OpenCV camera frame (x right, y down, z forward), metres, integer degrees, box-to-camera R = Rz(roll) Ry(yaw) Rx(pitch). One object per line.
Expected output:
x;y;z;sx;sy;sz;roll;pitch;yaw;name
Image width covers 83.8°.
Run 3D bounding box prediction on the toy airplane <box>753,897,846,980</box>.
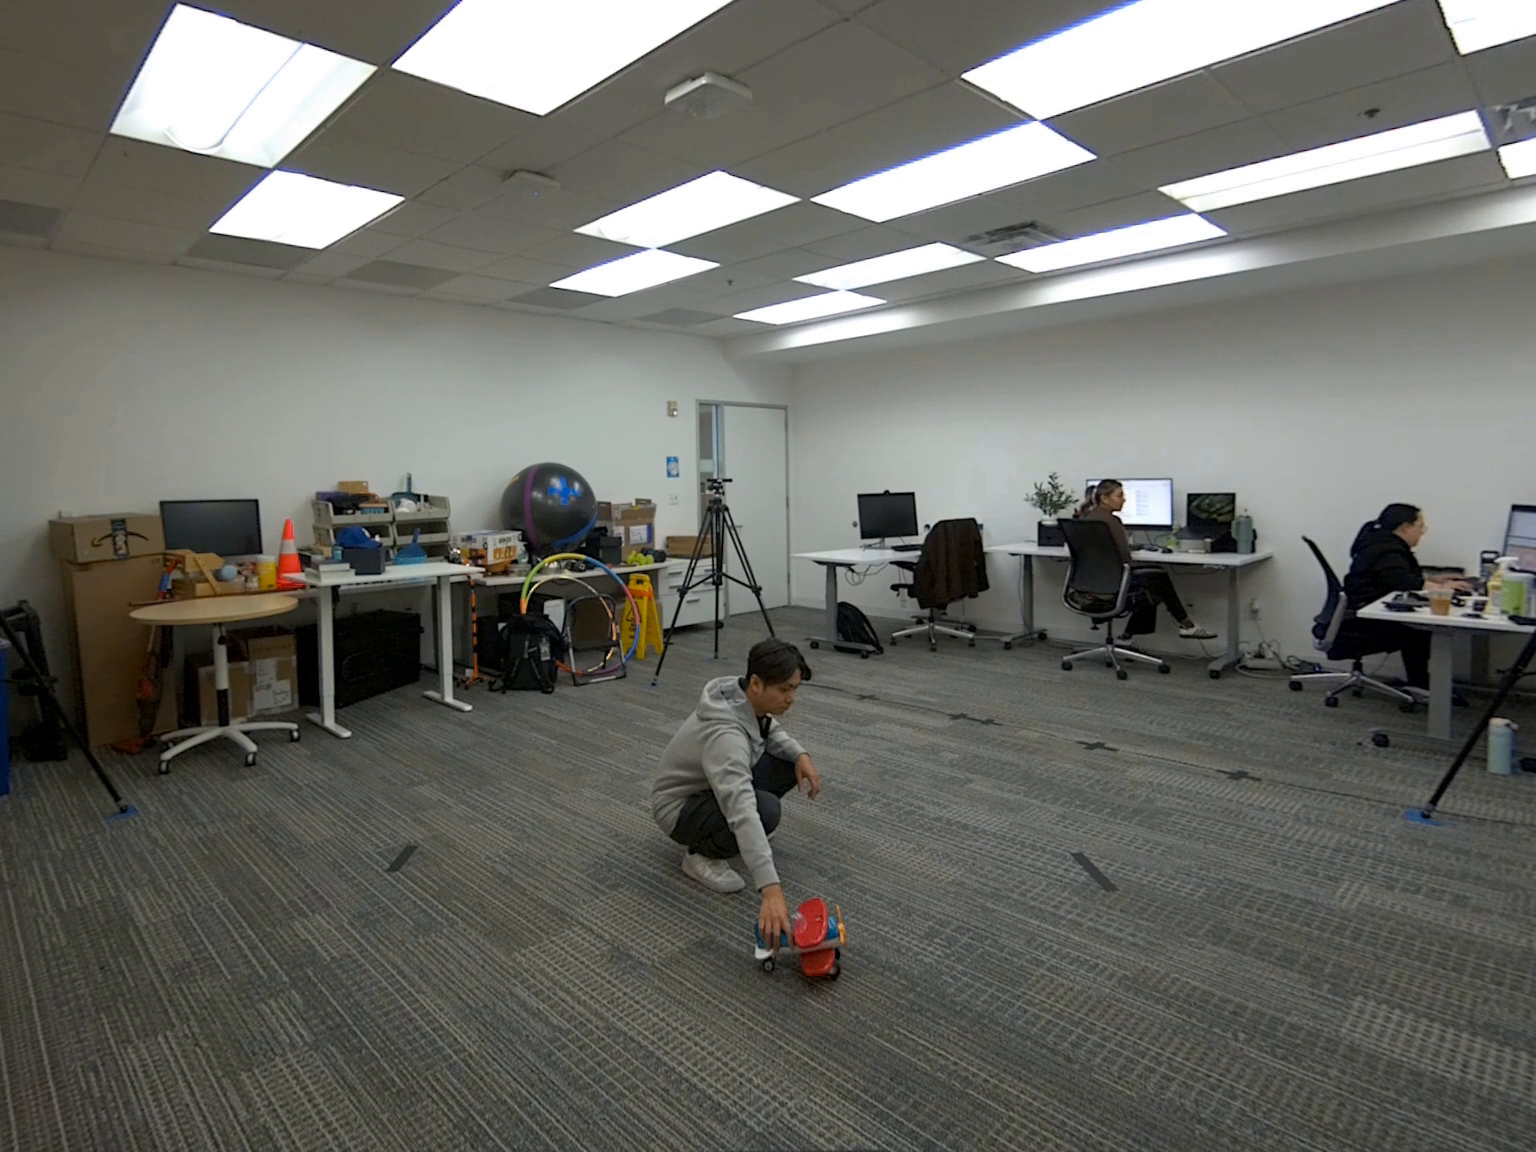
0.097;1.054;2.418;0.254;0.156;0.256;-3;4;-23;toy airplane
